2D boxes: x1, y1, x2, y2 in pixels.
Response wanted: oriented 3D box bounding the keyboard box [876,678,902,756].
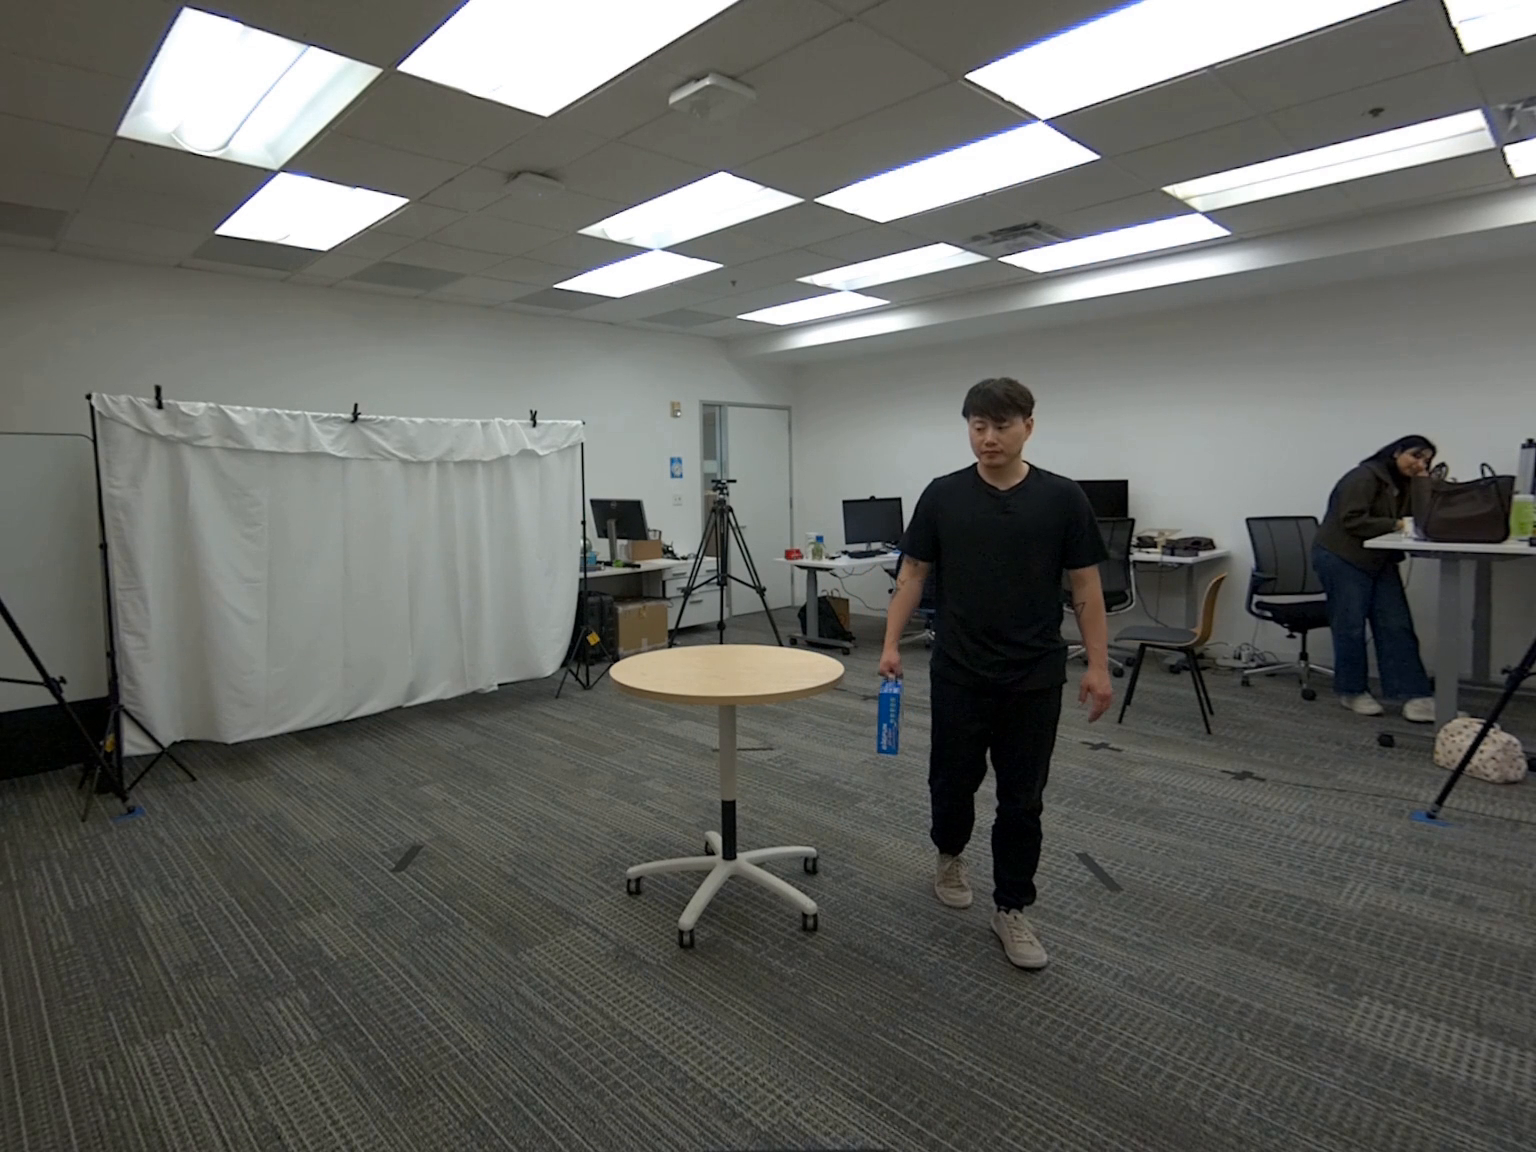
[{"bbox_3d":[0.381,0.399,2.574,0.060,0.176,0.432,1,2,9],"label":"keyboard box"}]
